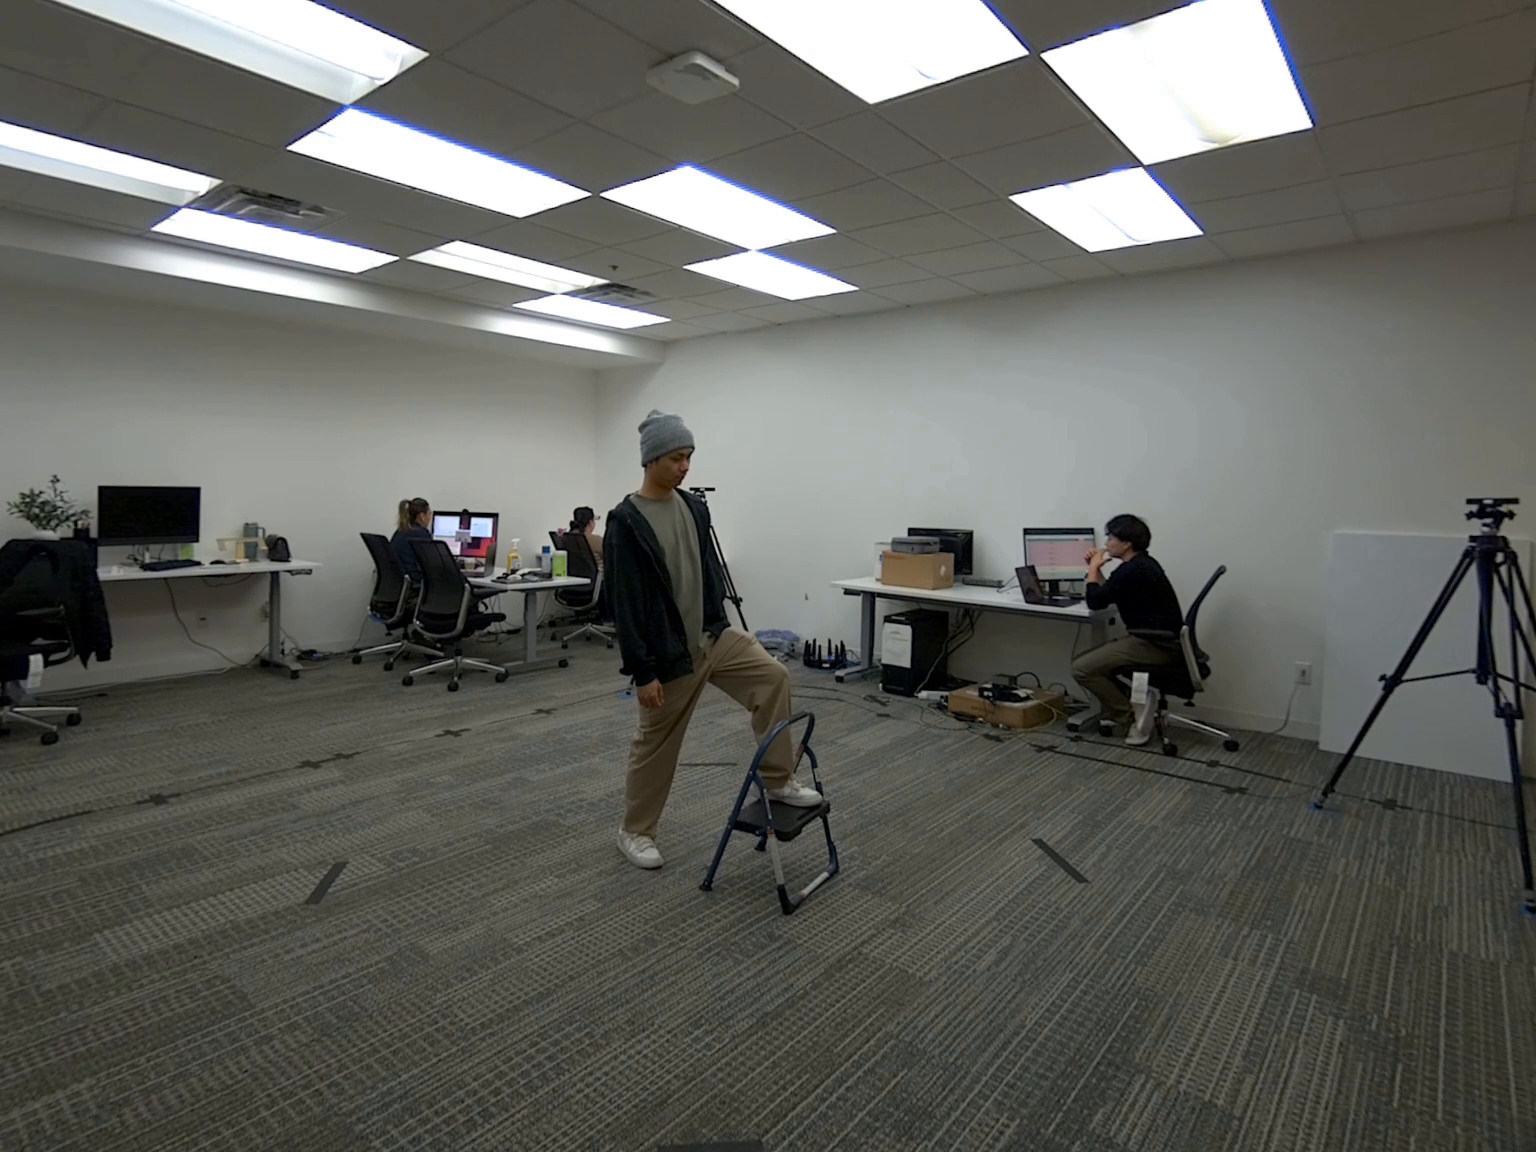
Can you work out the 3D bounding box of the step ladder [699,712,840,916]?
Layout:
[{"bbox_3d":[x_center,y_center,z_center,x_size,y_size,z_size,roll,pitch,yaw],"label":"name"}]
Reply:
[{"bbox_3d":[0.015,0.778,3.015,0.359,0.604,0.419,4,4,29],"label":"step ladder"}]
